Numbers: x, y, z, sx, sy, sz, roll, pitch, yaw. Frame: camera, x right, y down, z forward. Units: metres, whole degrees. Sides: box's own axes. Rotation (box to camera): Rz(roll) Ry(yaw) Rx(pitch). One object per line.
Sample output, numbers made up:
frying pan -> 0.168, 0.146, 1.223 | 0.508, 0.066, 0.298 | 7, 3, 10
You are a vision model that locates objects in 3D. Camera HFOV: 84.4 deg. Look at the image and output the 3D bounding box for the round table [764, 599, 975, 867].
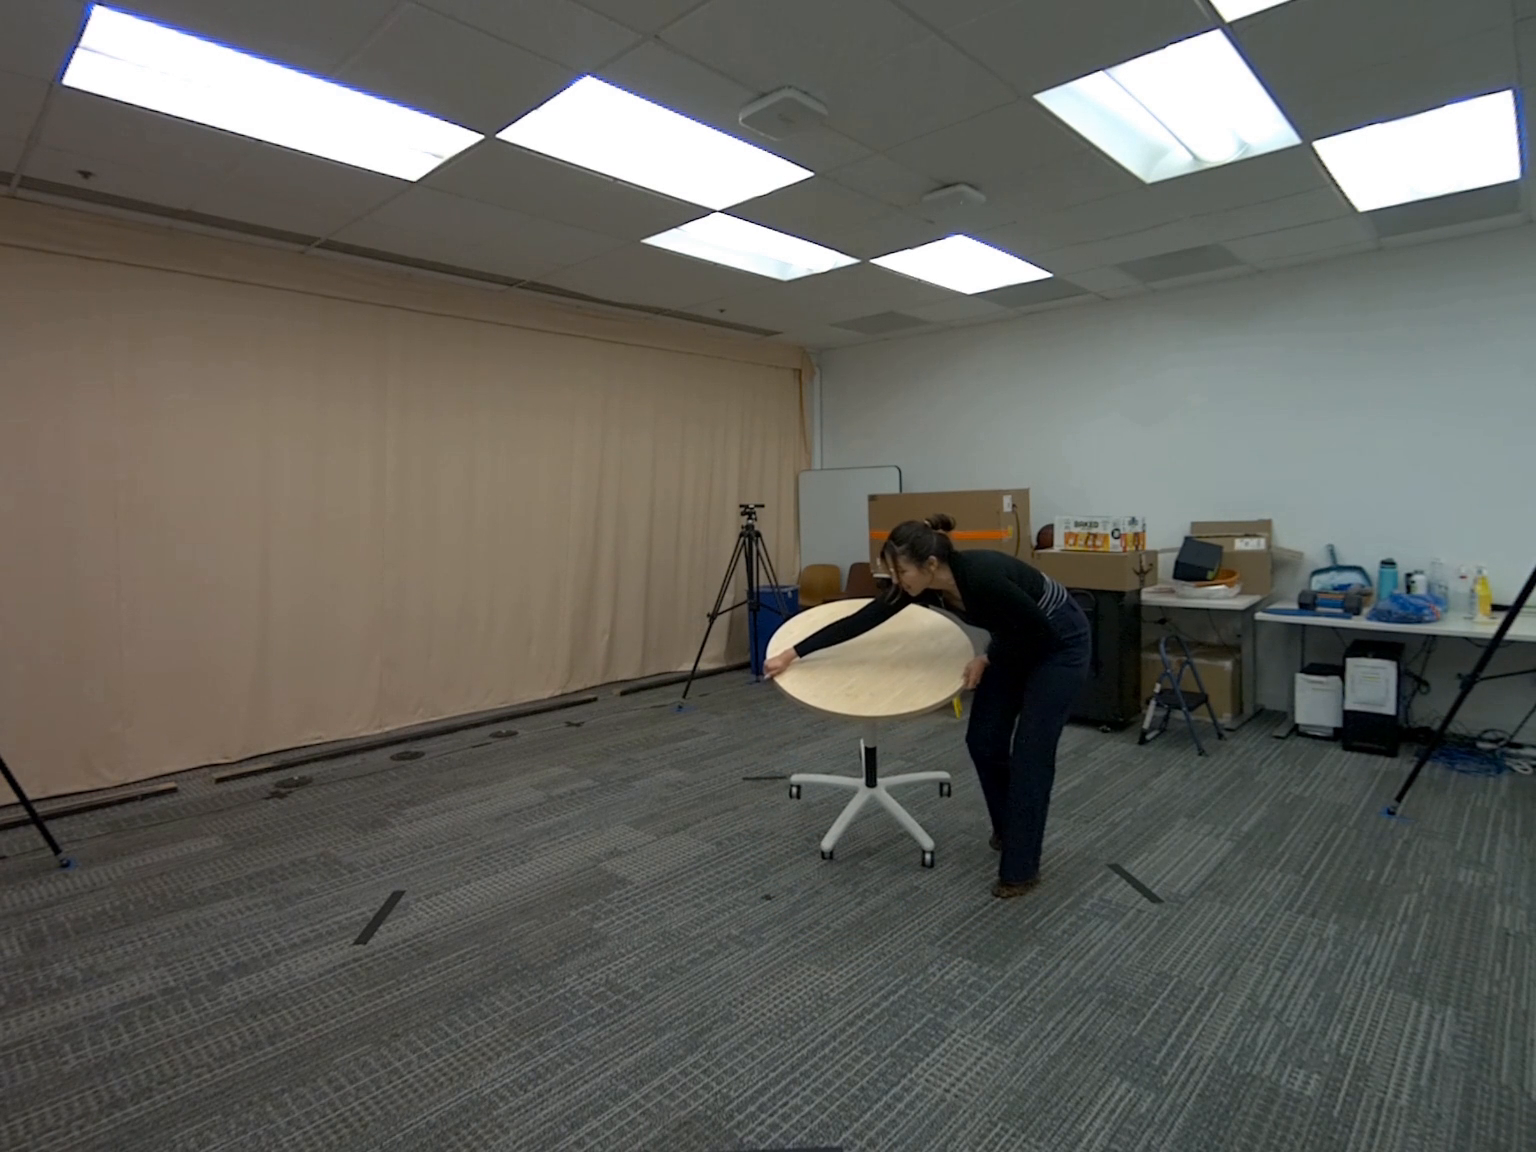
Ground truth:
round table -> 0.405, 0.629, 3.340 | 0.765, 0.780, 0.776 | -5, 27, 1
